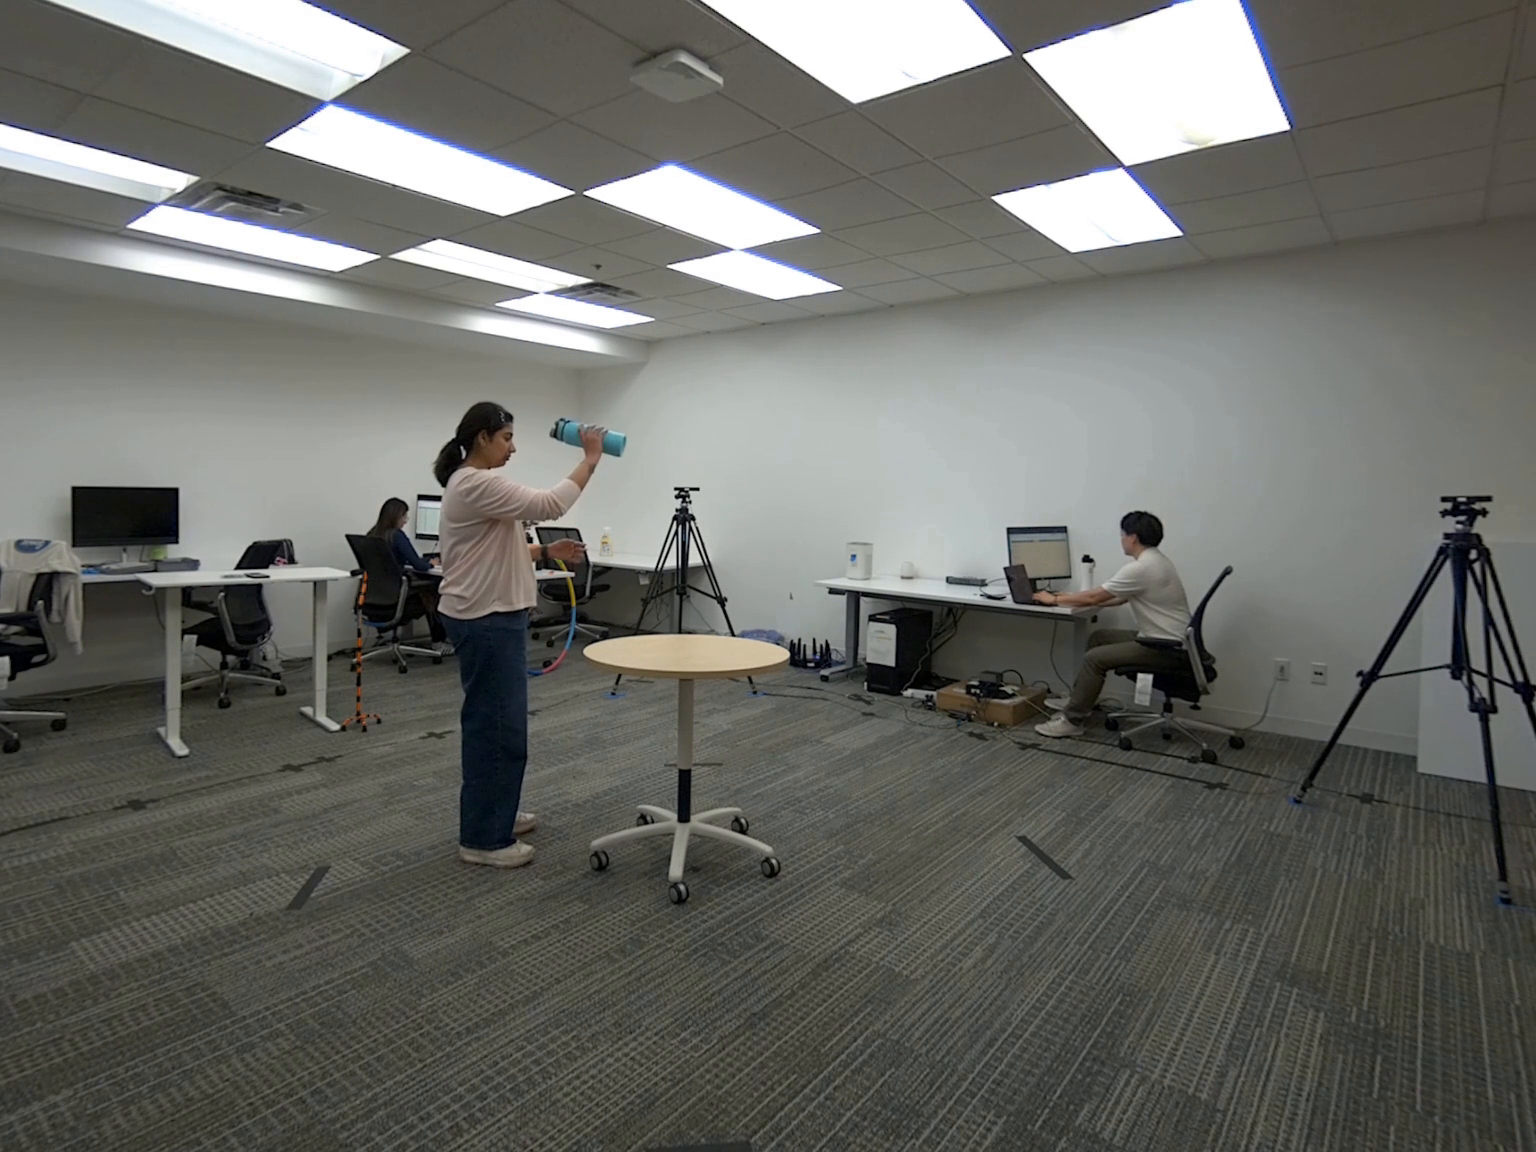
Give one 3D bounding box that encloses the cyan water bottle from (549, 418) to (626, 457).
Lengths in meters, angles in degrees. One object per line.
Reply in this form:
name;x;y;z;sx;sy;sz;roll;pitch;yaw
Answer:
cyan water bottle;-0.701;-0.531;3.246;0.285;0.092;0.092;15;5;4
